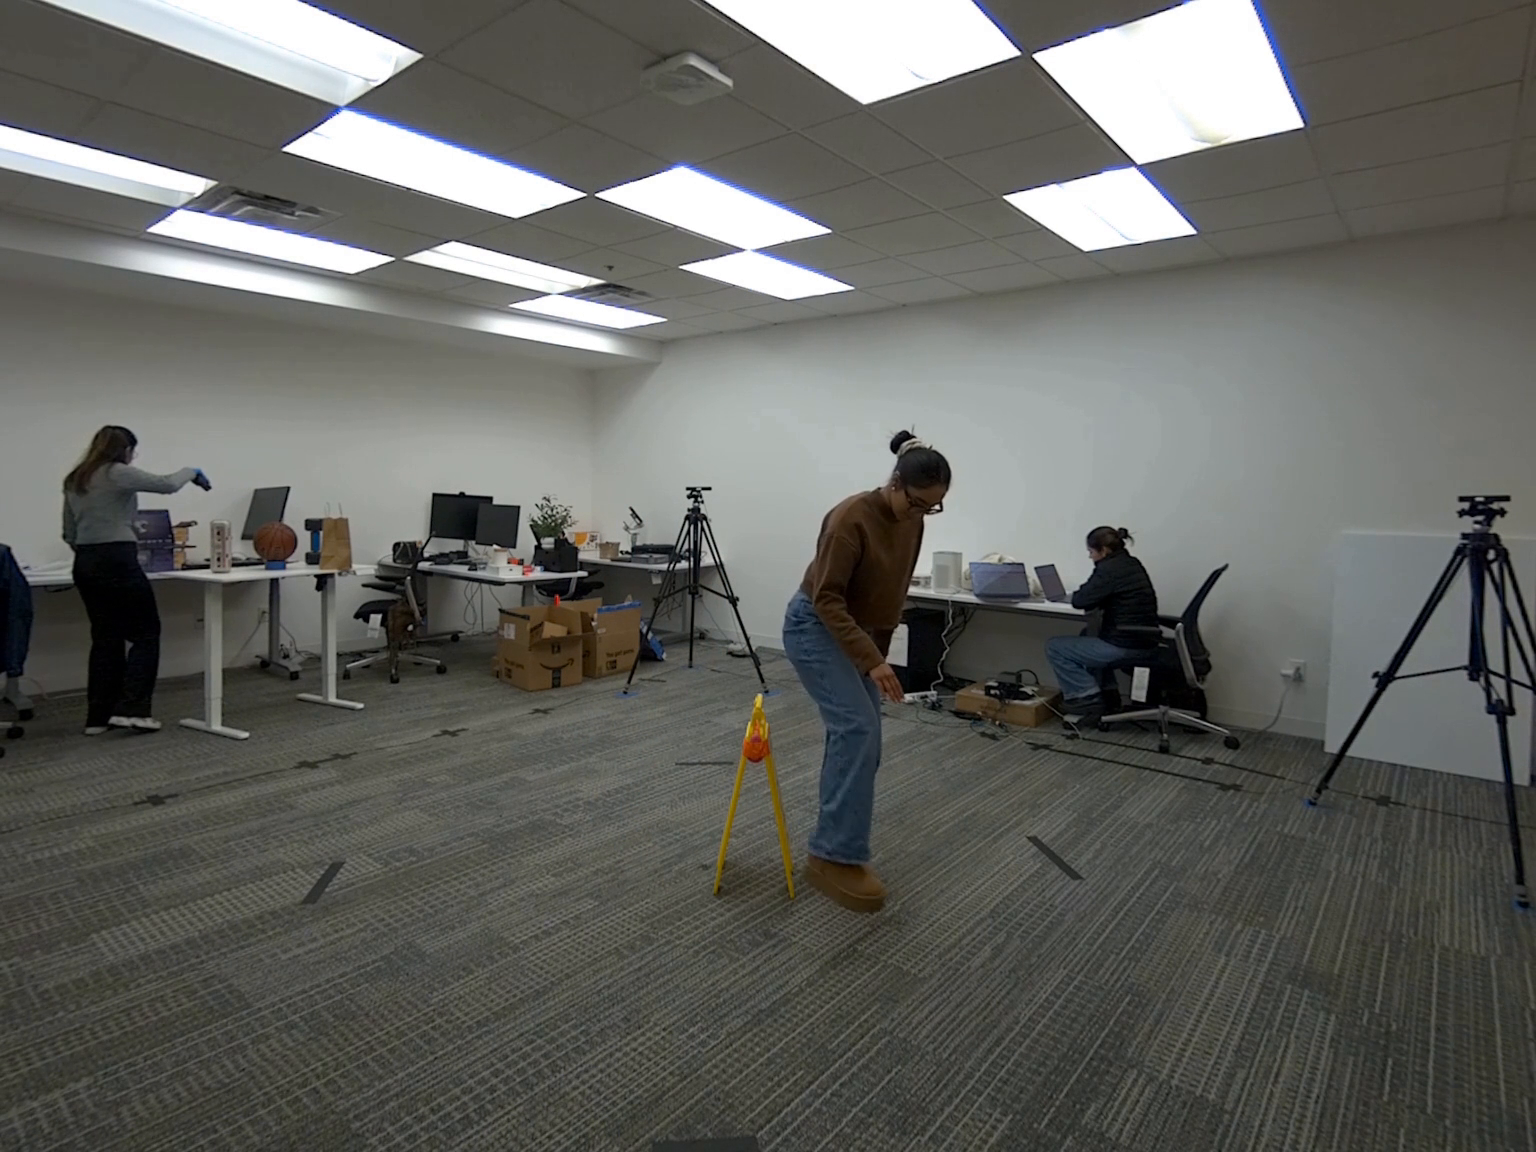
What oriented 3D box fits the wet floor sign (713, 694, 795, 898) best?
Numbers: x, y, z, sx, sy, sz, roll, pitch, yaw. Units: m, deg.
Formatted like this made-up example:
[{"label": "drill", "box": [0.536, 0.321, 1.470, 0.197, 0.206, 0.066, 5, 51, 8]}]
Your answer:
[{"label": "wet floor sign", "box": [-0.047, 0.758, 3.021, 0.291, 0.644, 0.282, 2, 3, 3]}]
